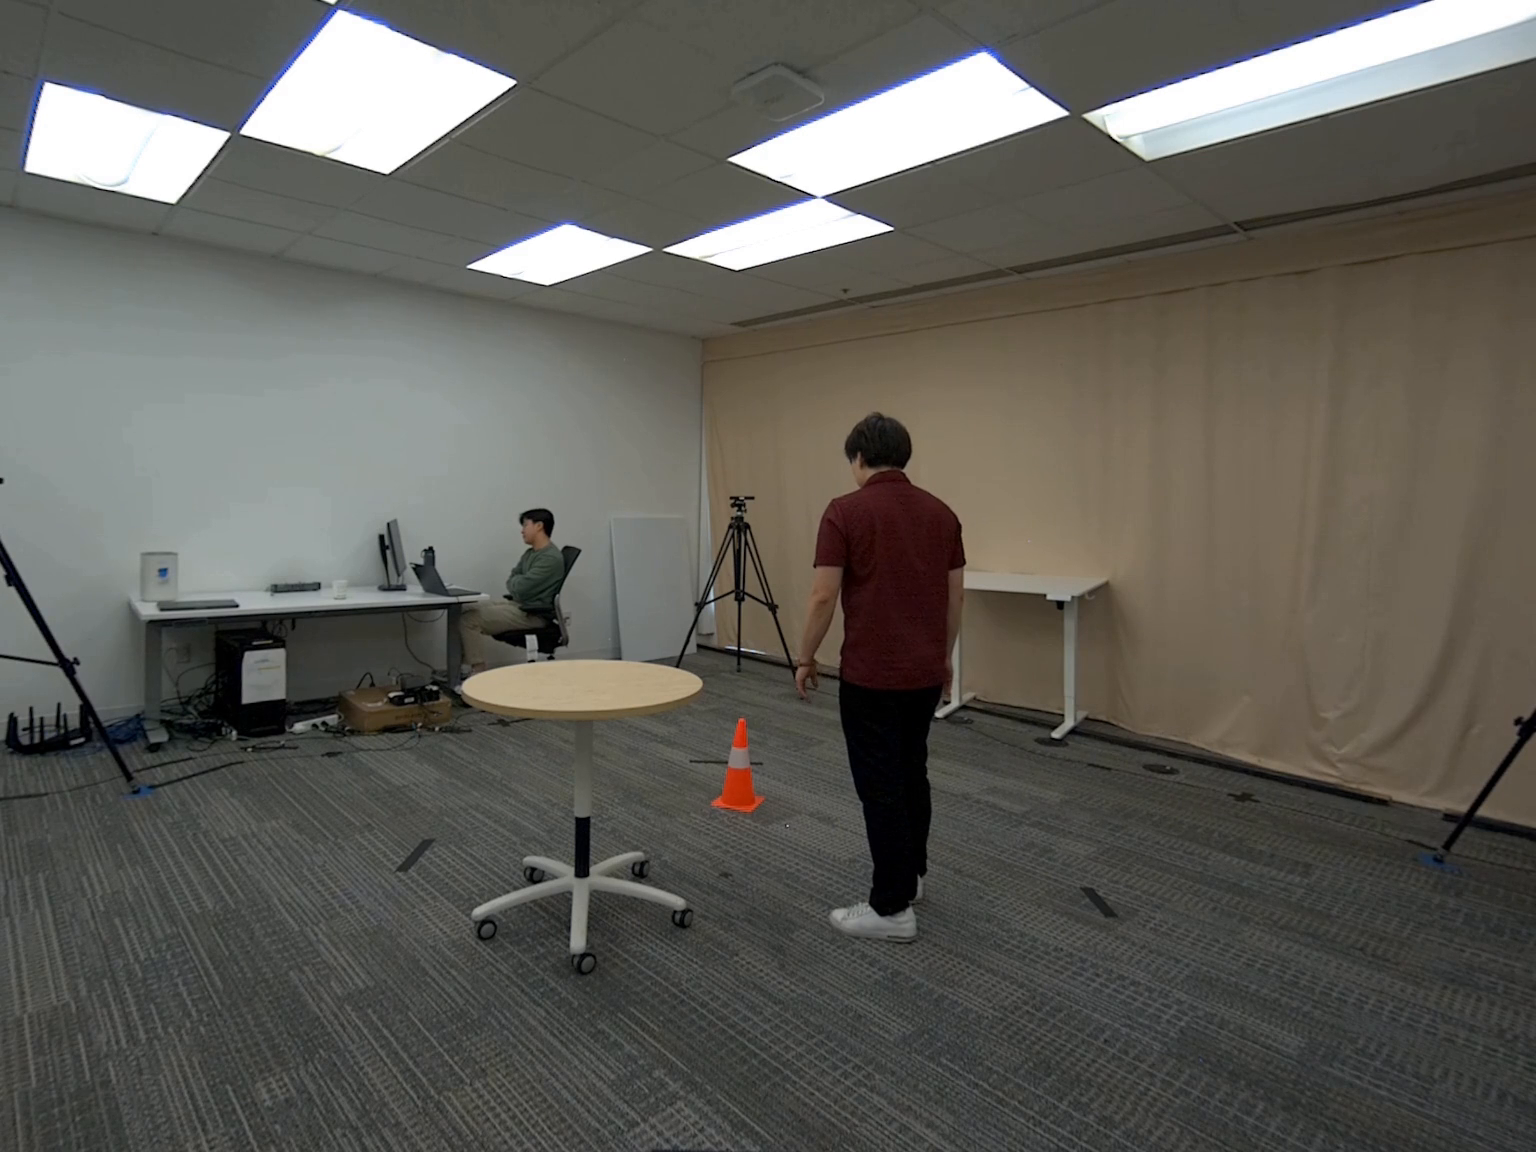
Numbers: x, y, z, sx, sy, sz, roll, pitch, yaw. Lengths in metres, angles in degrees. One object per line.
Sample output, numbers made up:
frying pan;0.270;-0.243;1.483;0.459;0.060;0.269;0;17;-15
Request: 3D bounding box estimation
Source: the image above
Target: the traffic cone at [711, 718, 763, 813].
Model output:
traffic cone;-0.144;0.852;3.872;0.209;0.383;0.200;3;2;24
